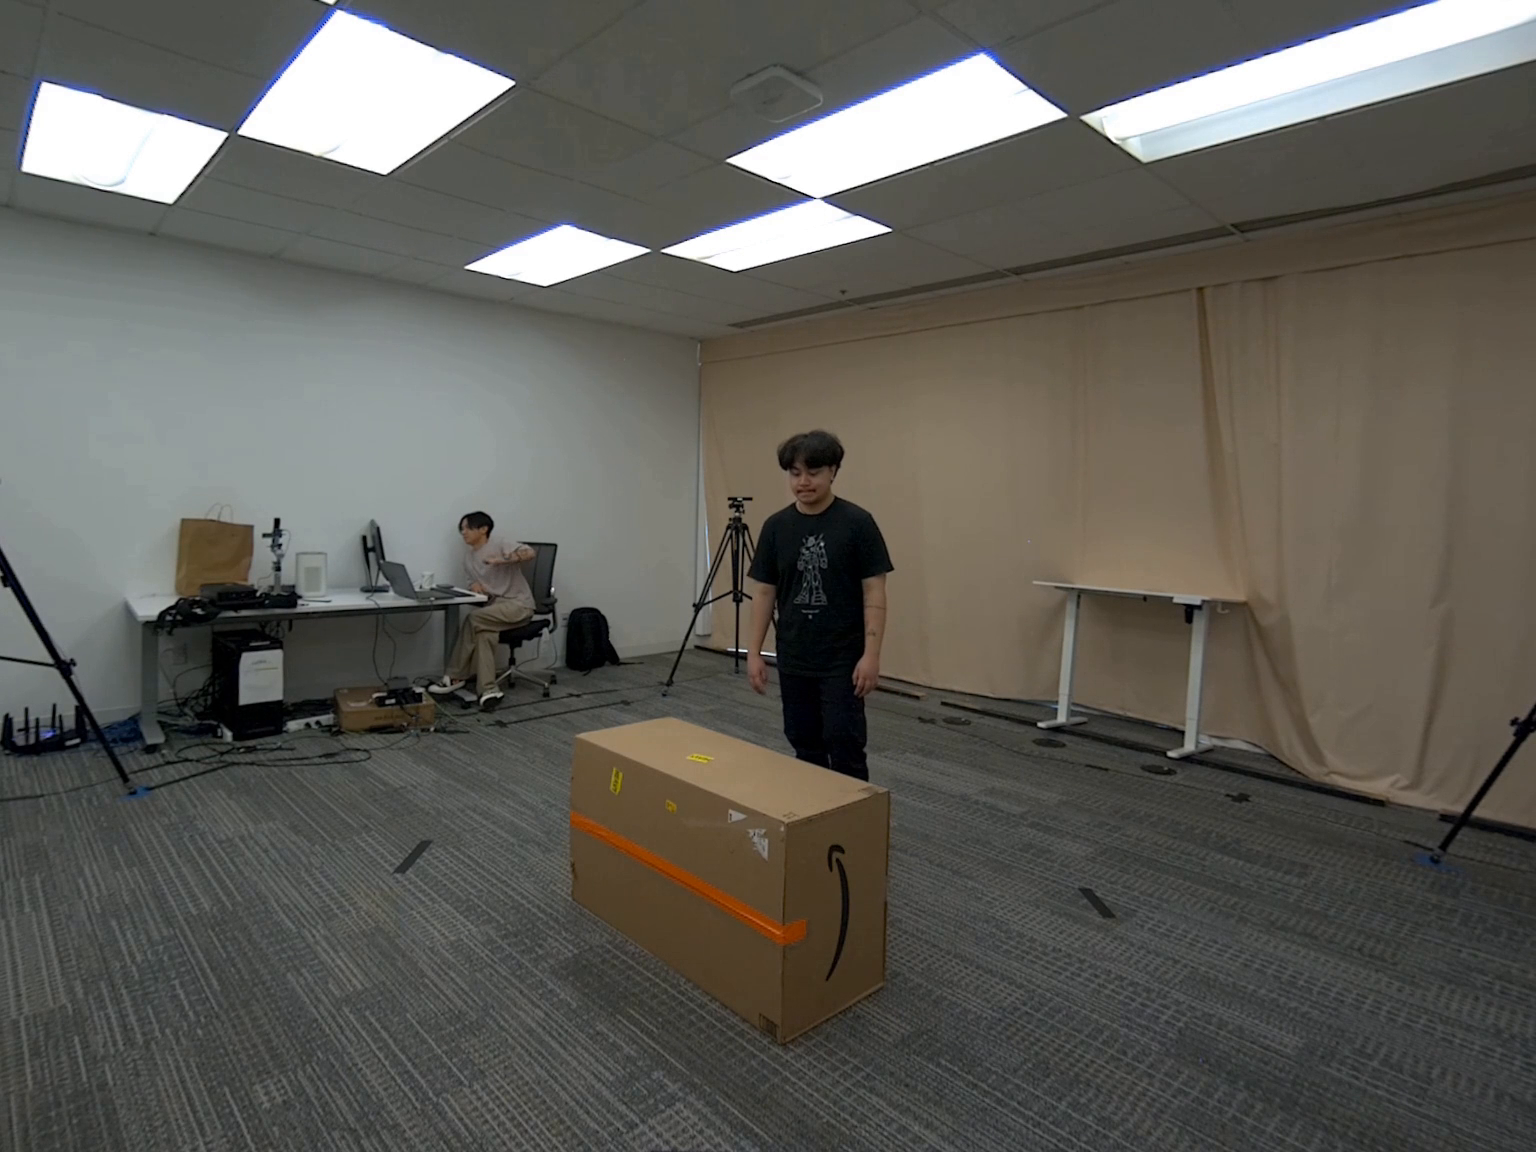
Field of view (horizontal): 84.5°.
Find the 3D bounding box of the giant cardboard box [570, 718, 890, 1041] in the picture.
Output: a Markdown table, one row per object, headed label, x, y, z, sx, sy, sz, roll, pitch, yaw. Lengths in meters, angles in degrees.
| label | x | y | z | sx | sy | sz | roll | pitch | yaw |
| --- | --- | --- | --- | --- | --- | --- | --- | --- | --- |
| giant cardboard box | -0.175 | 0.864 | 2.643 | 0.437 | 0.582 | 1.053 | -3 | 6 | -43 |
